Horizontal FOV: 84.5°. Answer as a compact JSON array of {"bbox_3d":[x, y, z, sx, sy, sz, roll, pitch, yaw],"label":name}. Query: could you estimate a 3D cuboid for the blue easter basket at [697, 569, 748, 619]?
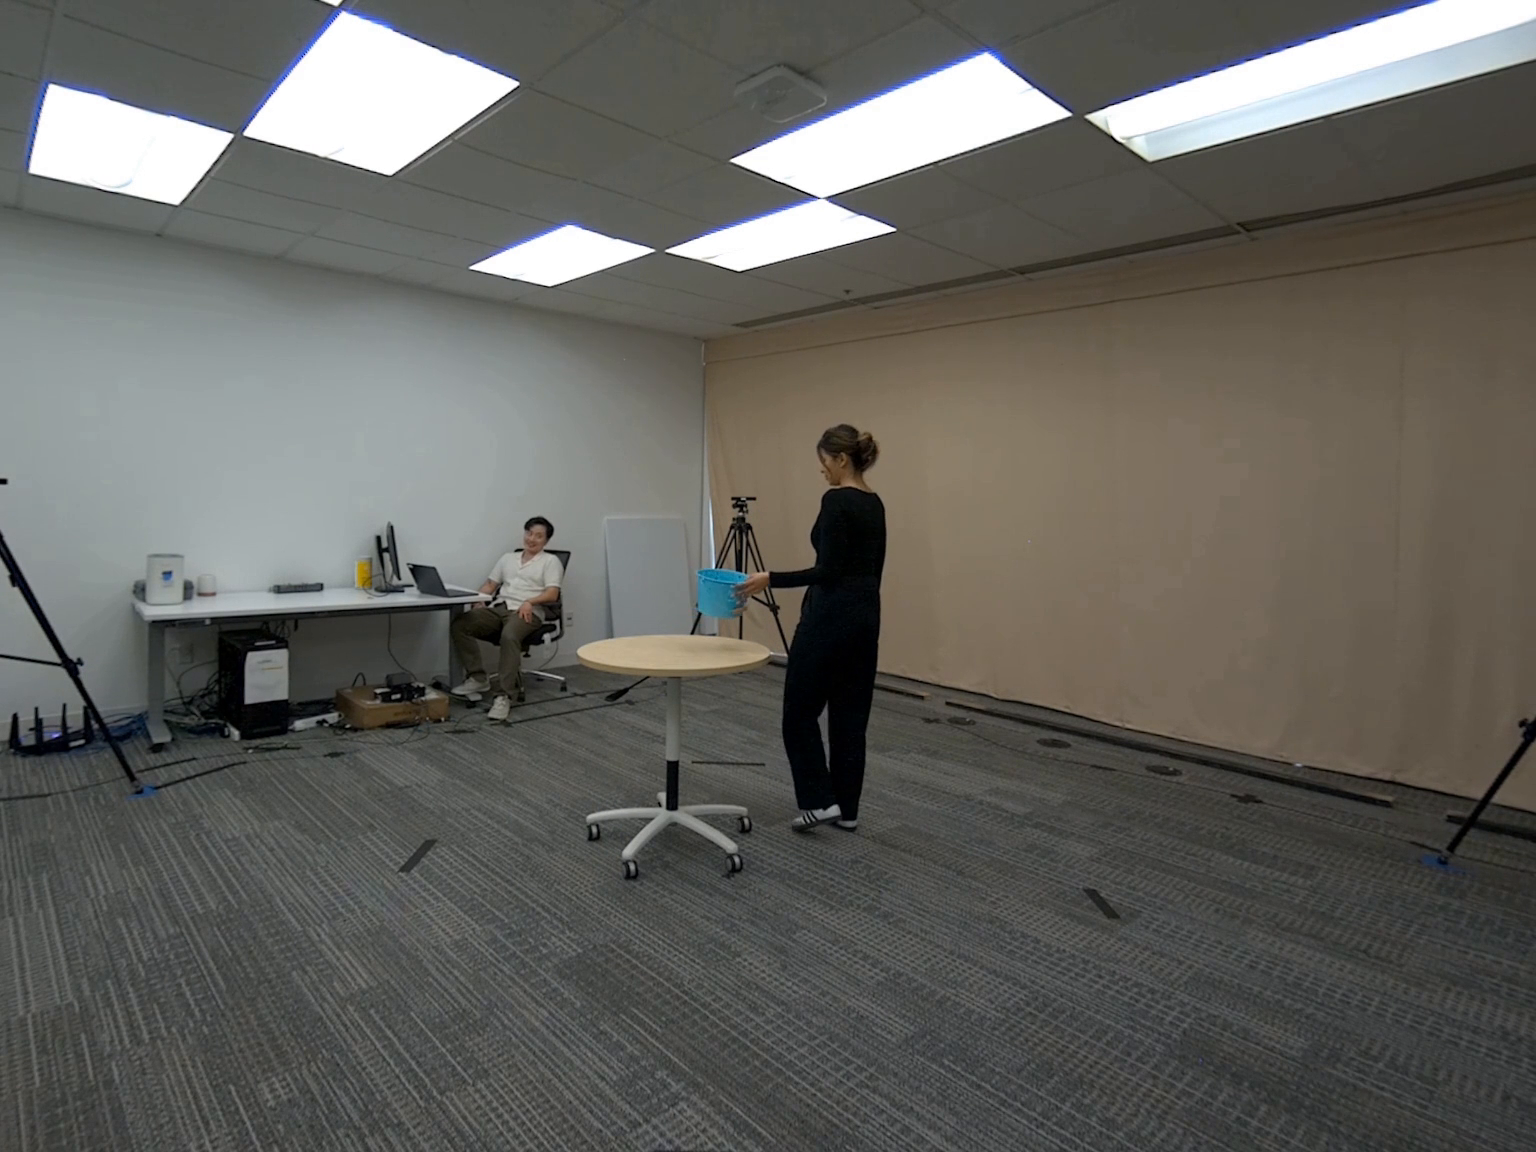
[{"bbox_3d":[-0.189,0.074,3.401,0.243,0.155,0.245,5,10,-2],"label":"blue easter basket"}]
